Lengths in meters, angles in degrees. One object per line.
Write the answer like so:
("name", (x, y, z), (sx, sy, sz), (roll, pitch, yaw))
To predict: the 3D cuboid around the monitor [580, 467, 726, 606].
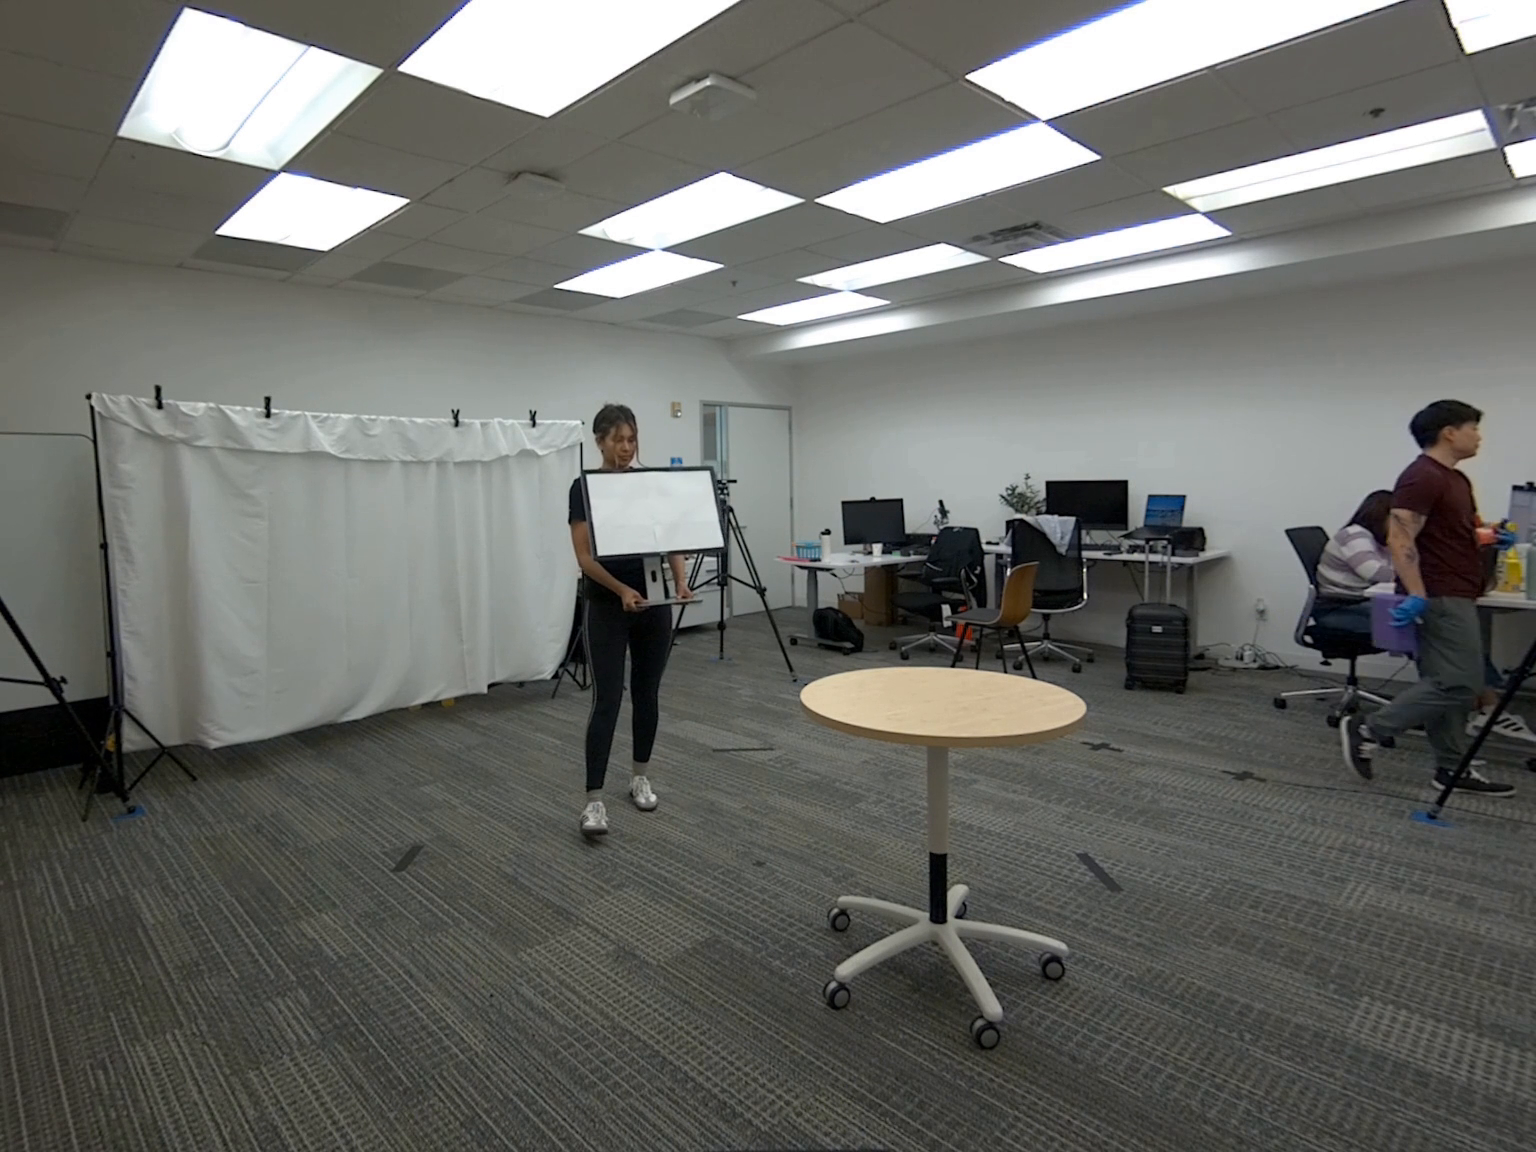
("monitor", (-0.454, -0.158, 3.385), (0.527, 0.523, 0.191), (-5, 0, -28))
